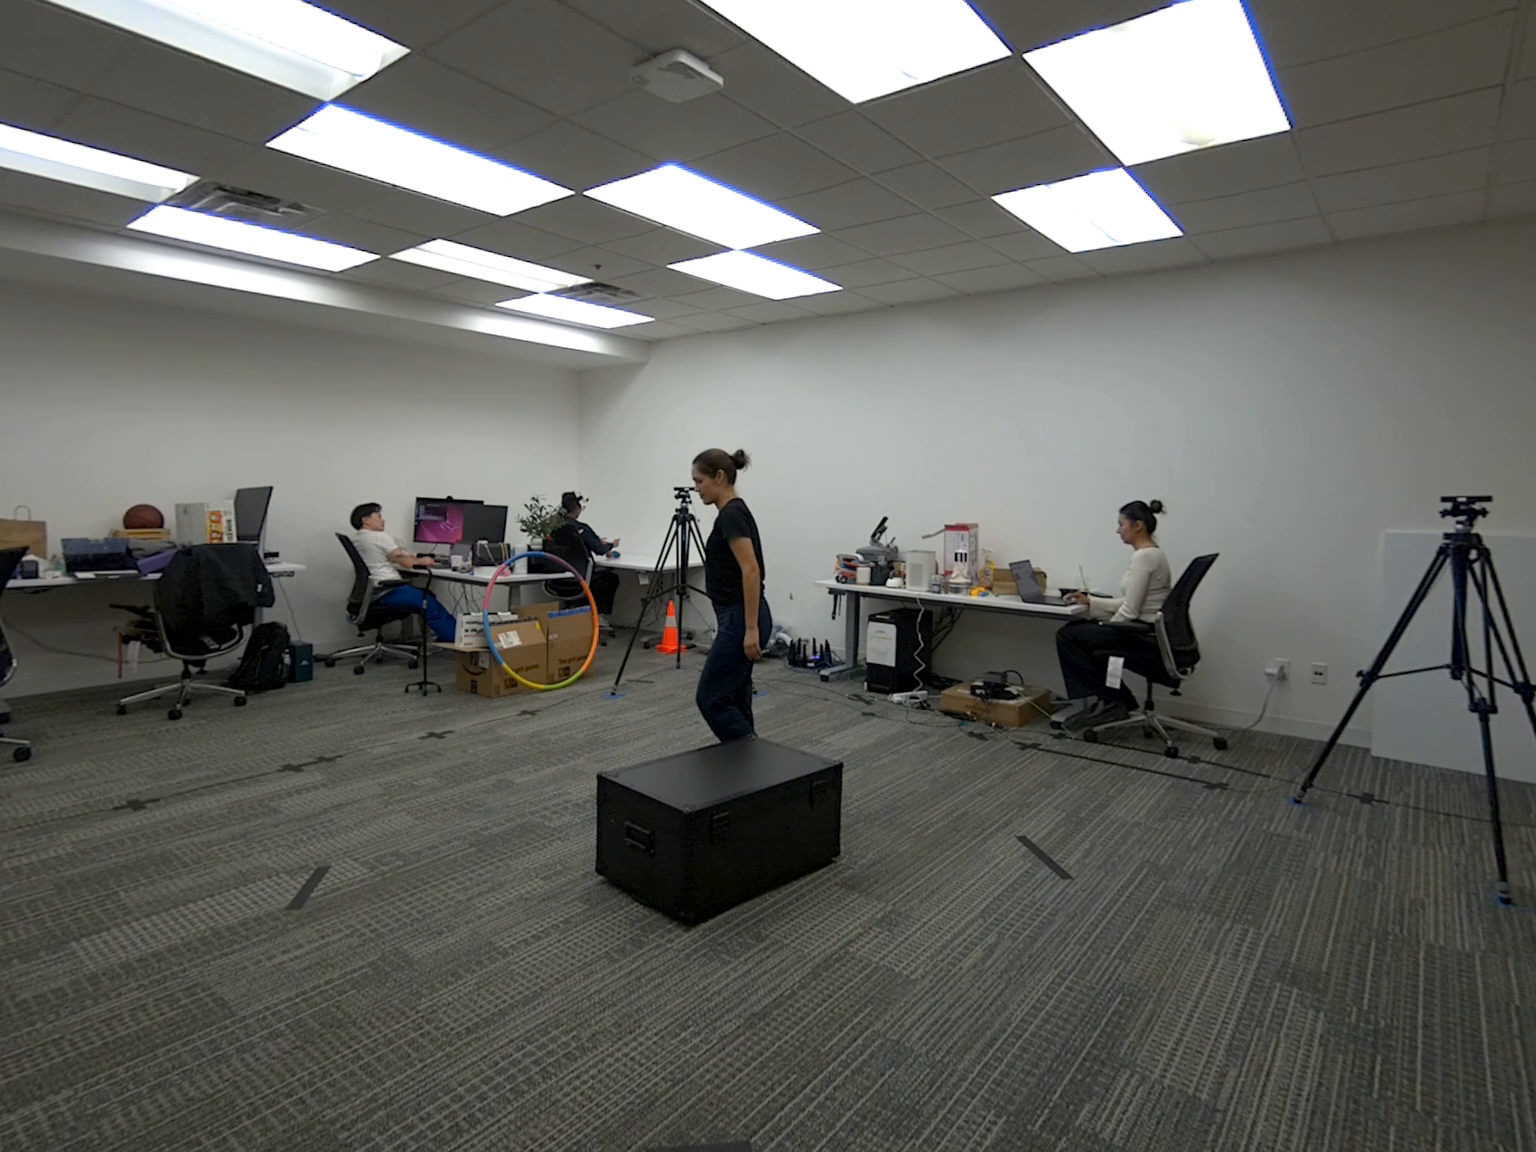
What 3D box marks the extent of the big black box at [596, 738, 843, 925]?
[{"bbox_3d":[-0.171,0.880,3.080,0.835,0.395,0.539,-3,5,-44],"label":"big black box"}]
